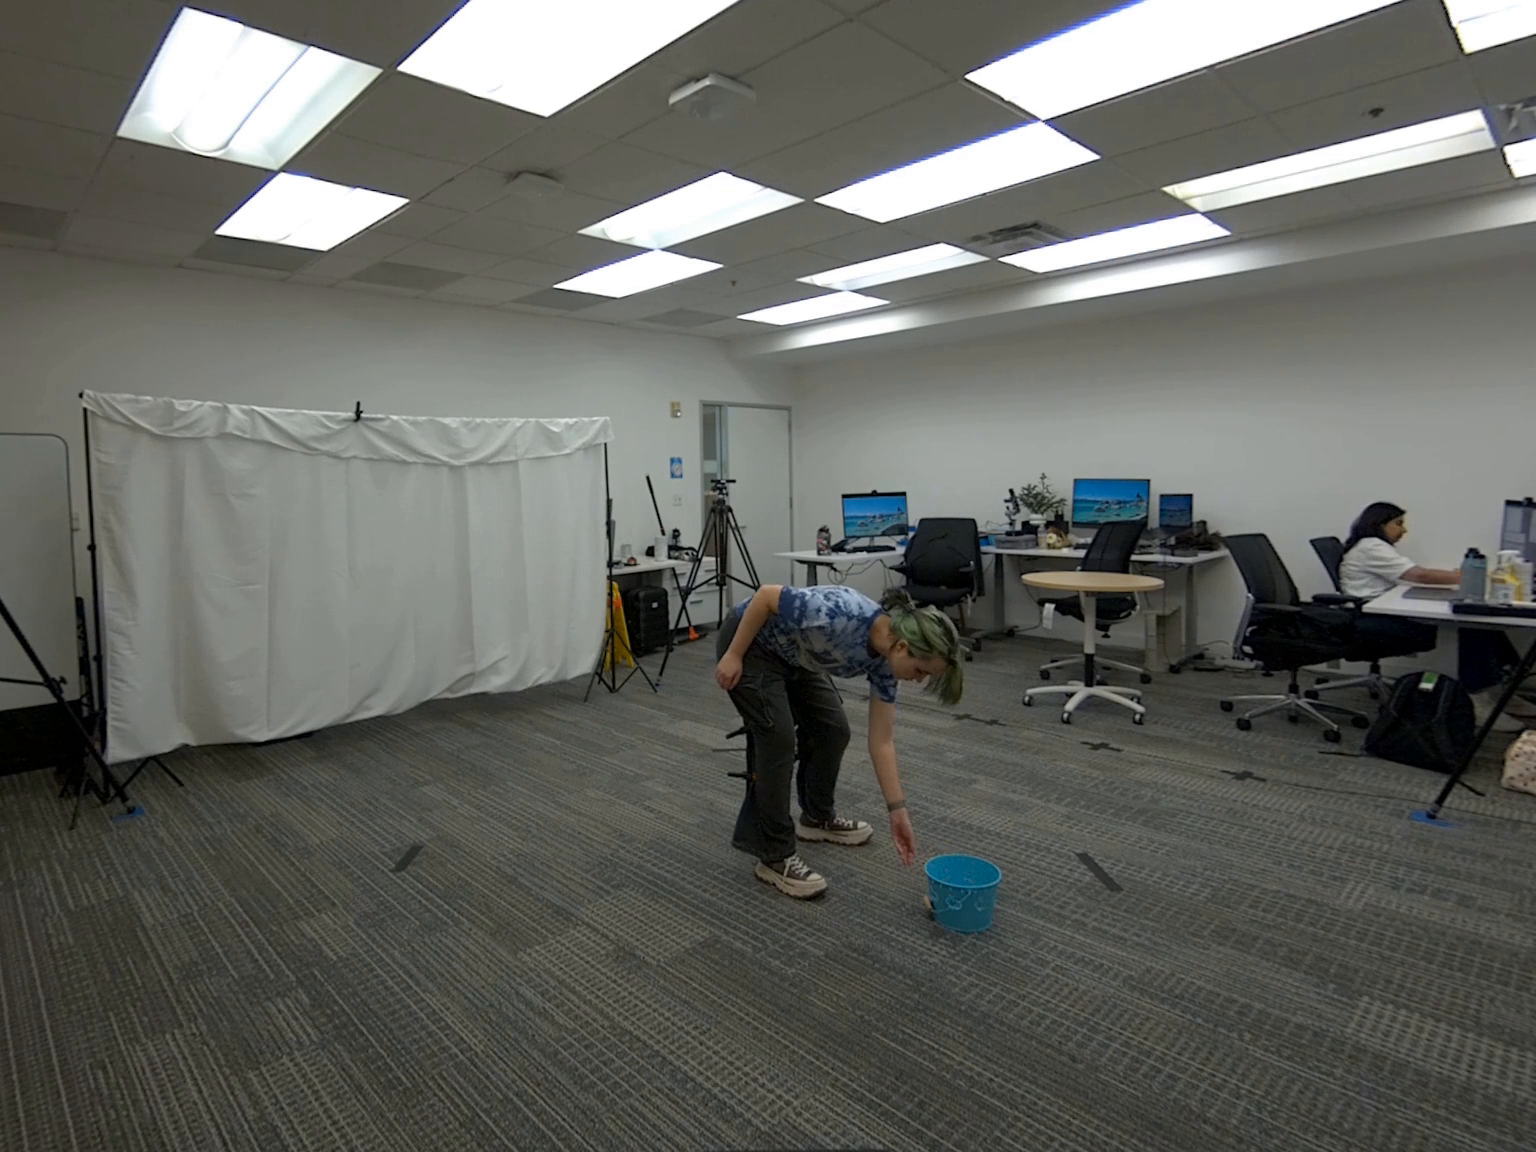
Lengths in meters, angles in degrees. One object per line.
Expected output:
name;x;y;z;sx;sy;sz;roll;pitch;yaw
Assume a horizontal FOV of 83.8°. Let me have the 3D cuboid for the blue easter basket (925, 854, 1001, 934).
blue easter basket;0.616;1.000;2.706;0.243;0.155;0.245;-2;6;-2
